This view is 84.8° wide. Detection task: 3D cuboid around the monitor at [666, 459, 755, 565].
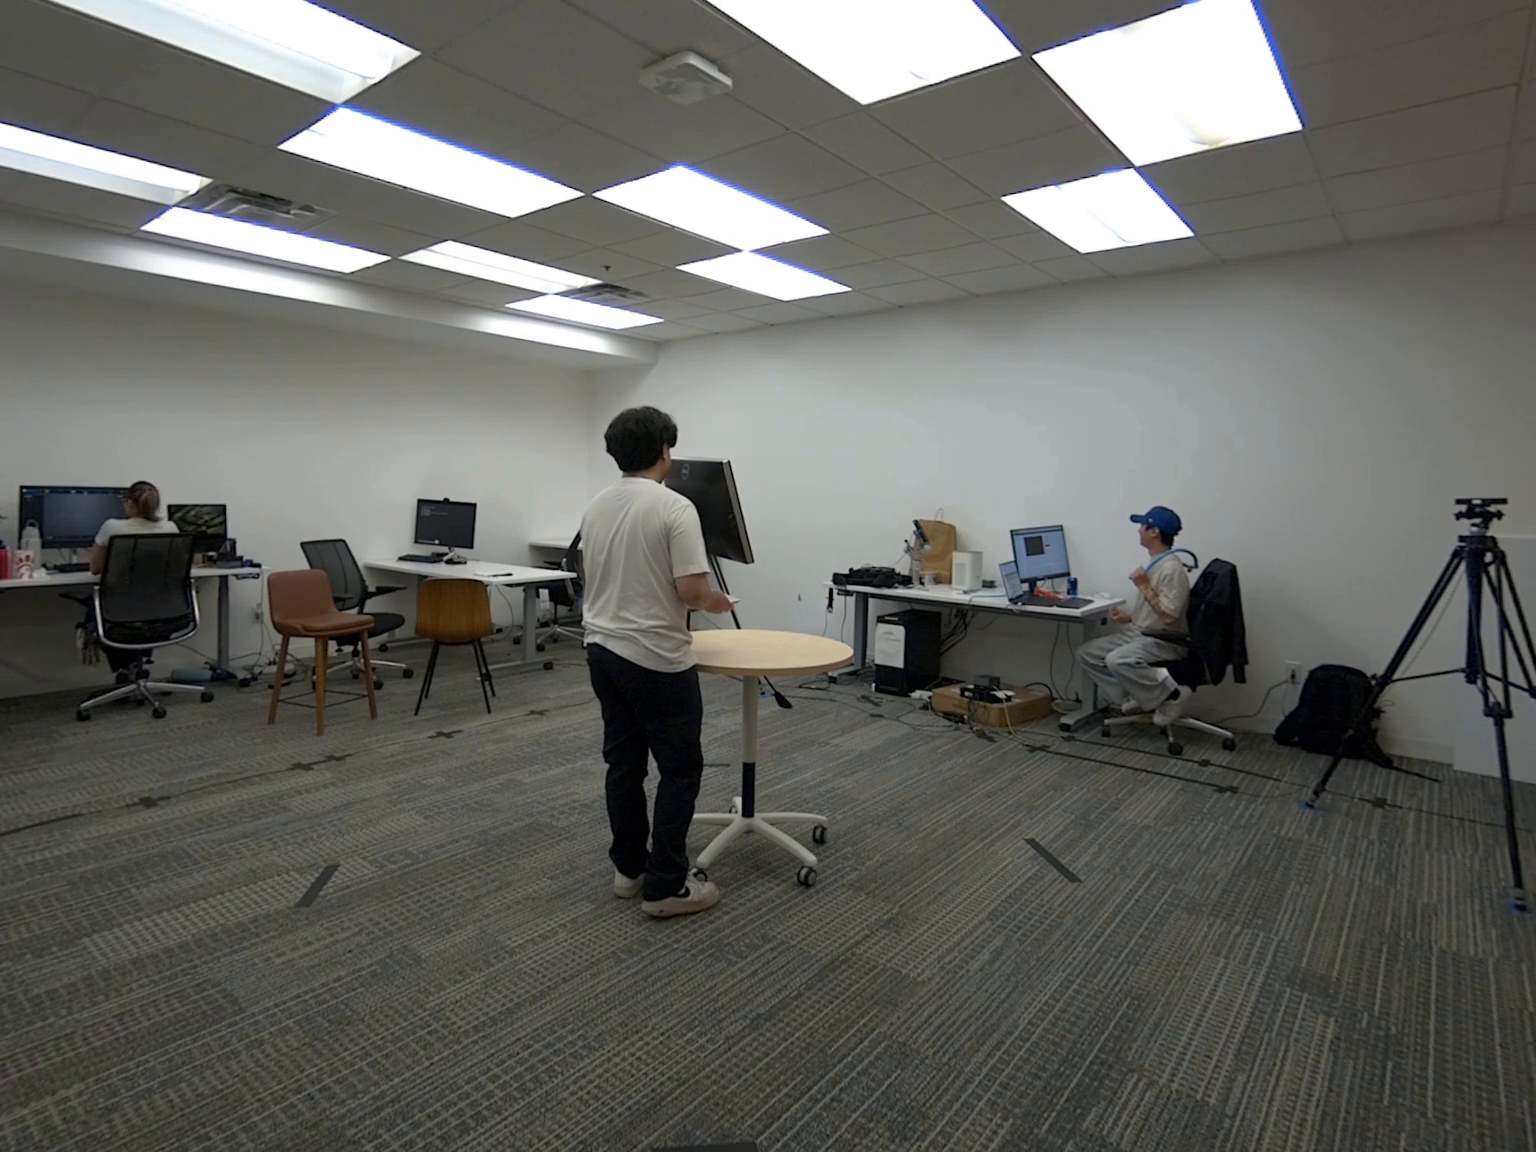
[{"bbox_3d":[-0.291,-0.149,3.053,0.206,0.547,0.584,-14,15,-27],"label":"monitor"}]
